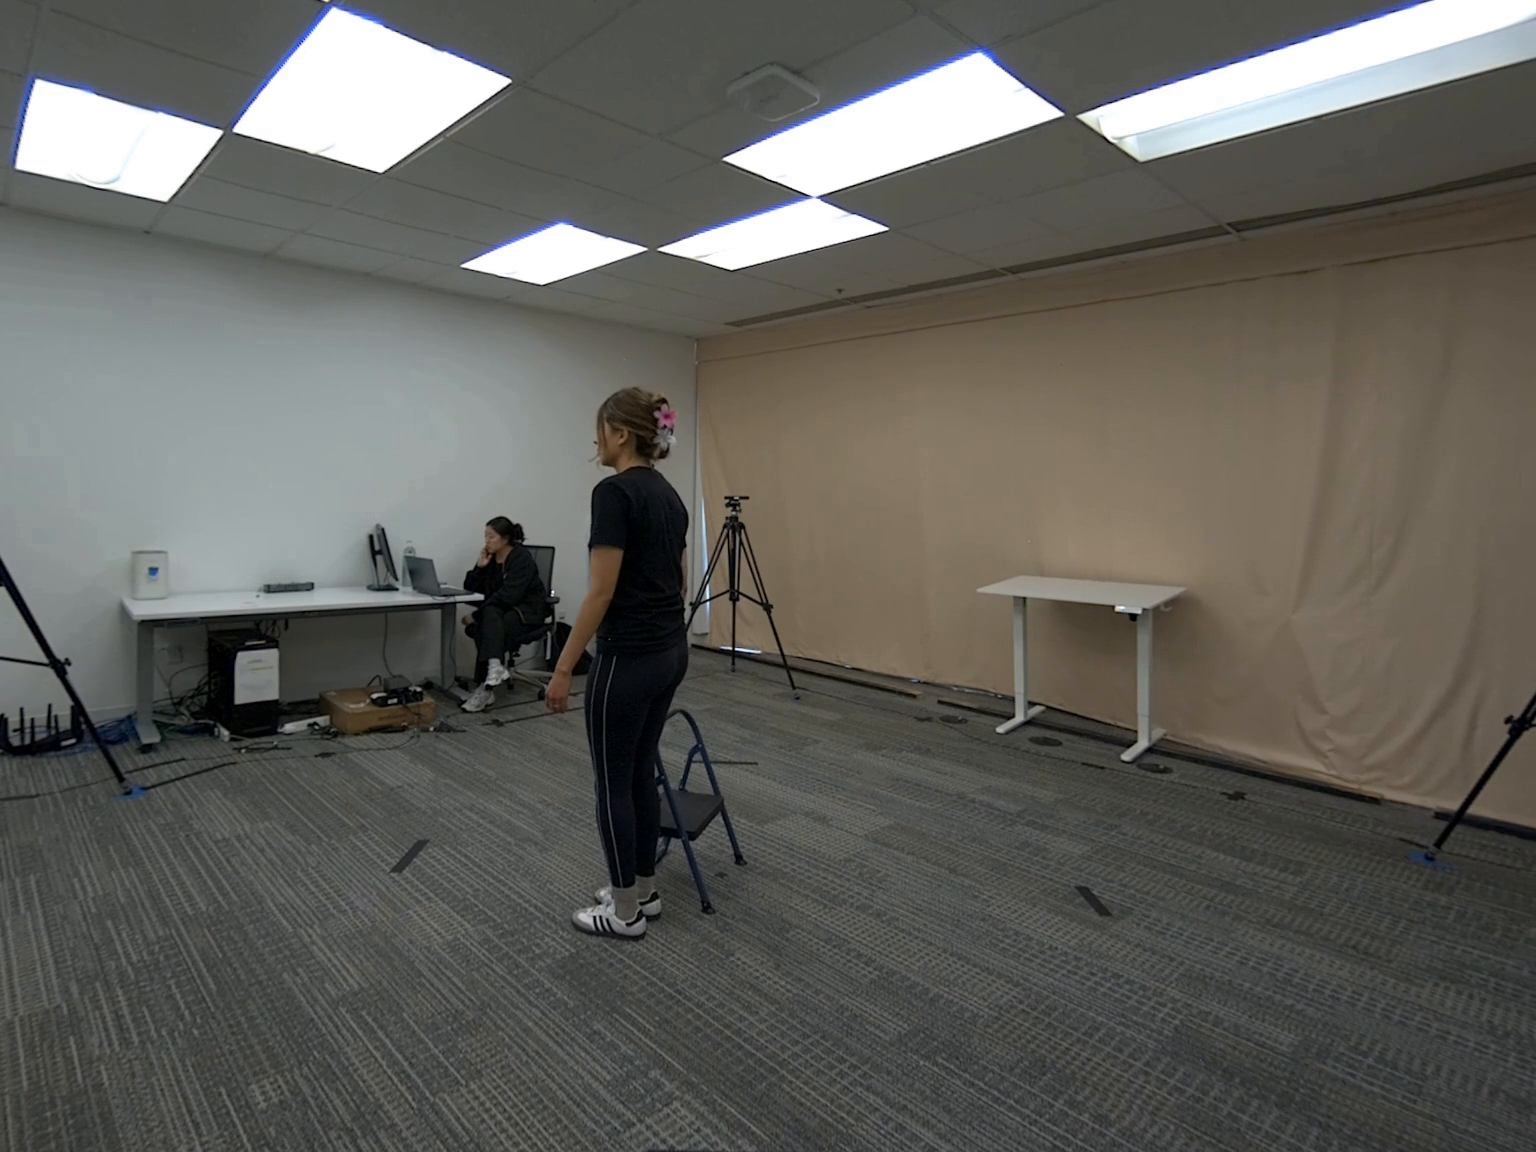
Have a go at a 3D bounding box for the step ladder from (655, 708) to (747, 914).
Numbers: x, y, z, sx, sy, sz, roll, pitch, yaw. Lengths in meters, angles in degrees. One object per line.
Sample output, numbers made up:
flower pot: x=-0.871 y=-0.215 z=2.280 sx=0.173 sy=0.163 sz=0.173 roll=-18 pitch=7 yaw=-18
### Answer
step ladder: x=-0.299 y=0.804 z=3.046 sx=0.354 sy=0.604 sz=0.426 roll=3 pitch=4 yaw=15
